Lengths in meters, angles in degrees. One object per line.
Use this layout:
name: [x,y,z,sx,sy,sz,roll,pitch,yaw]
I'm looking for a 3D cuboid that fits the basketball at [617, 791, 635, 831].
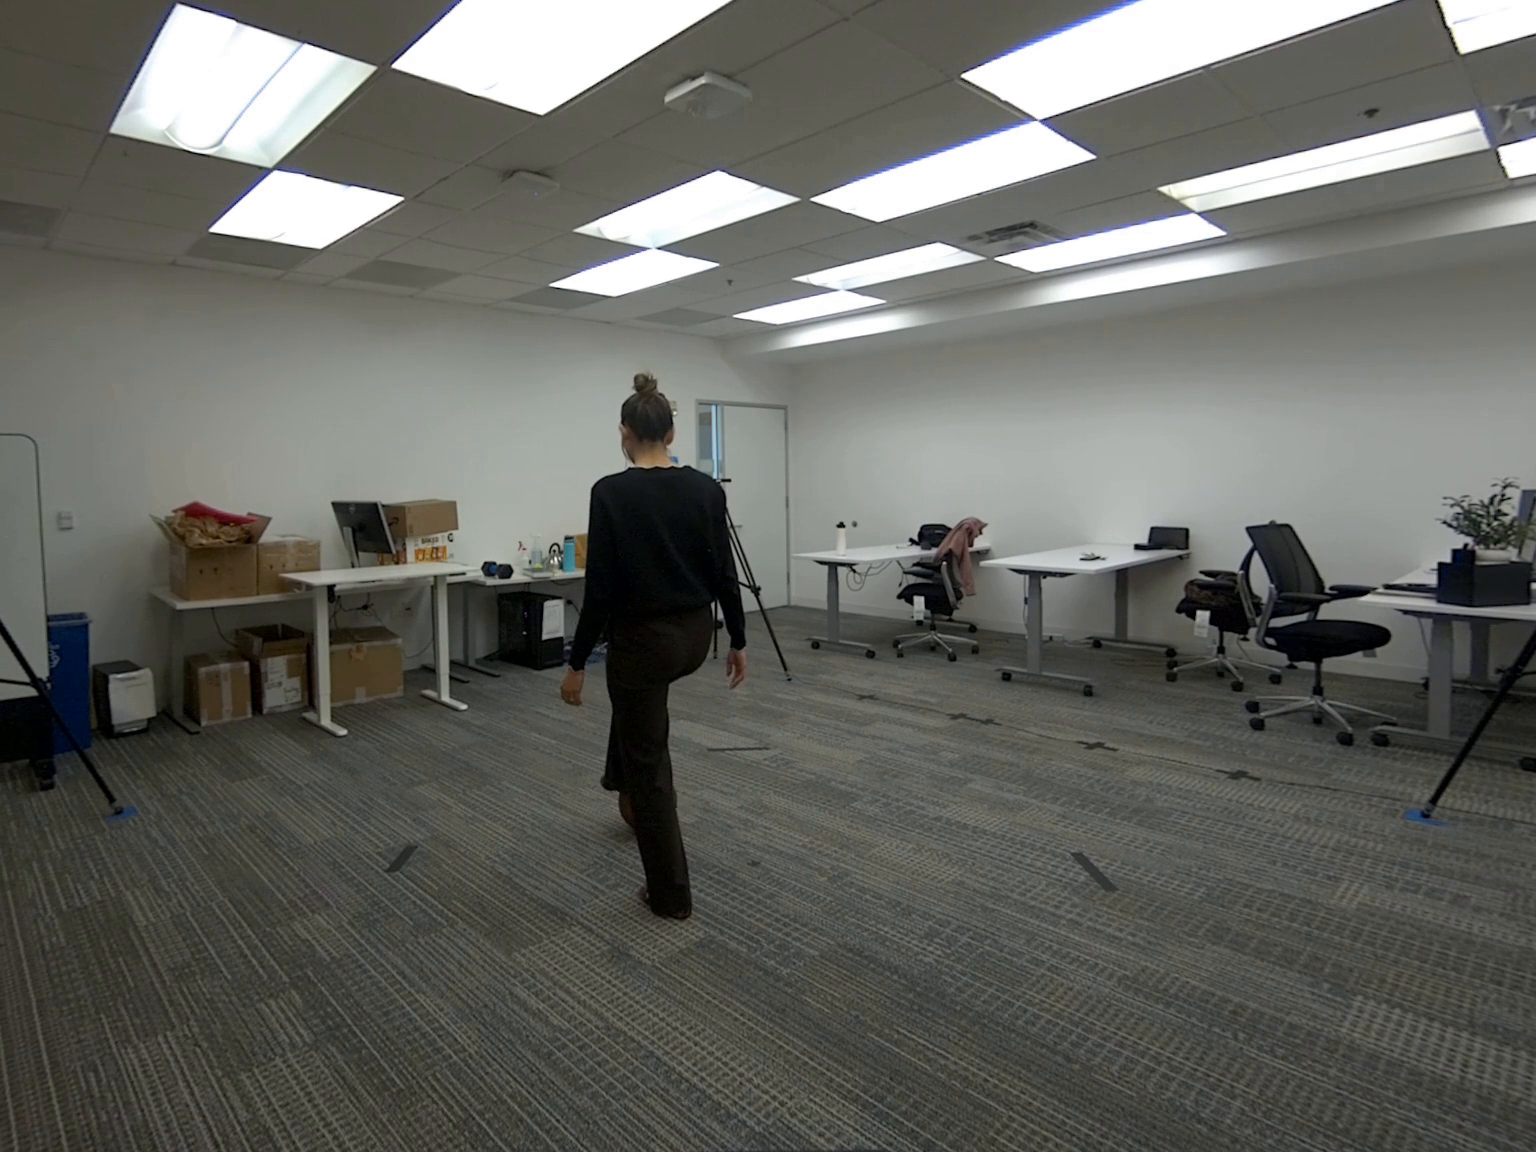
basketball: [-0.470,0.894,3.430,0.236,0.235,0.237,-1,5,-2]
